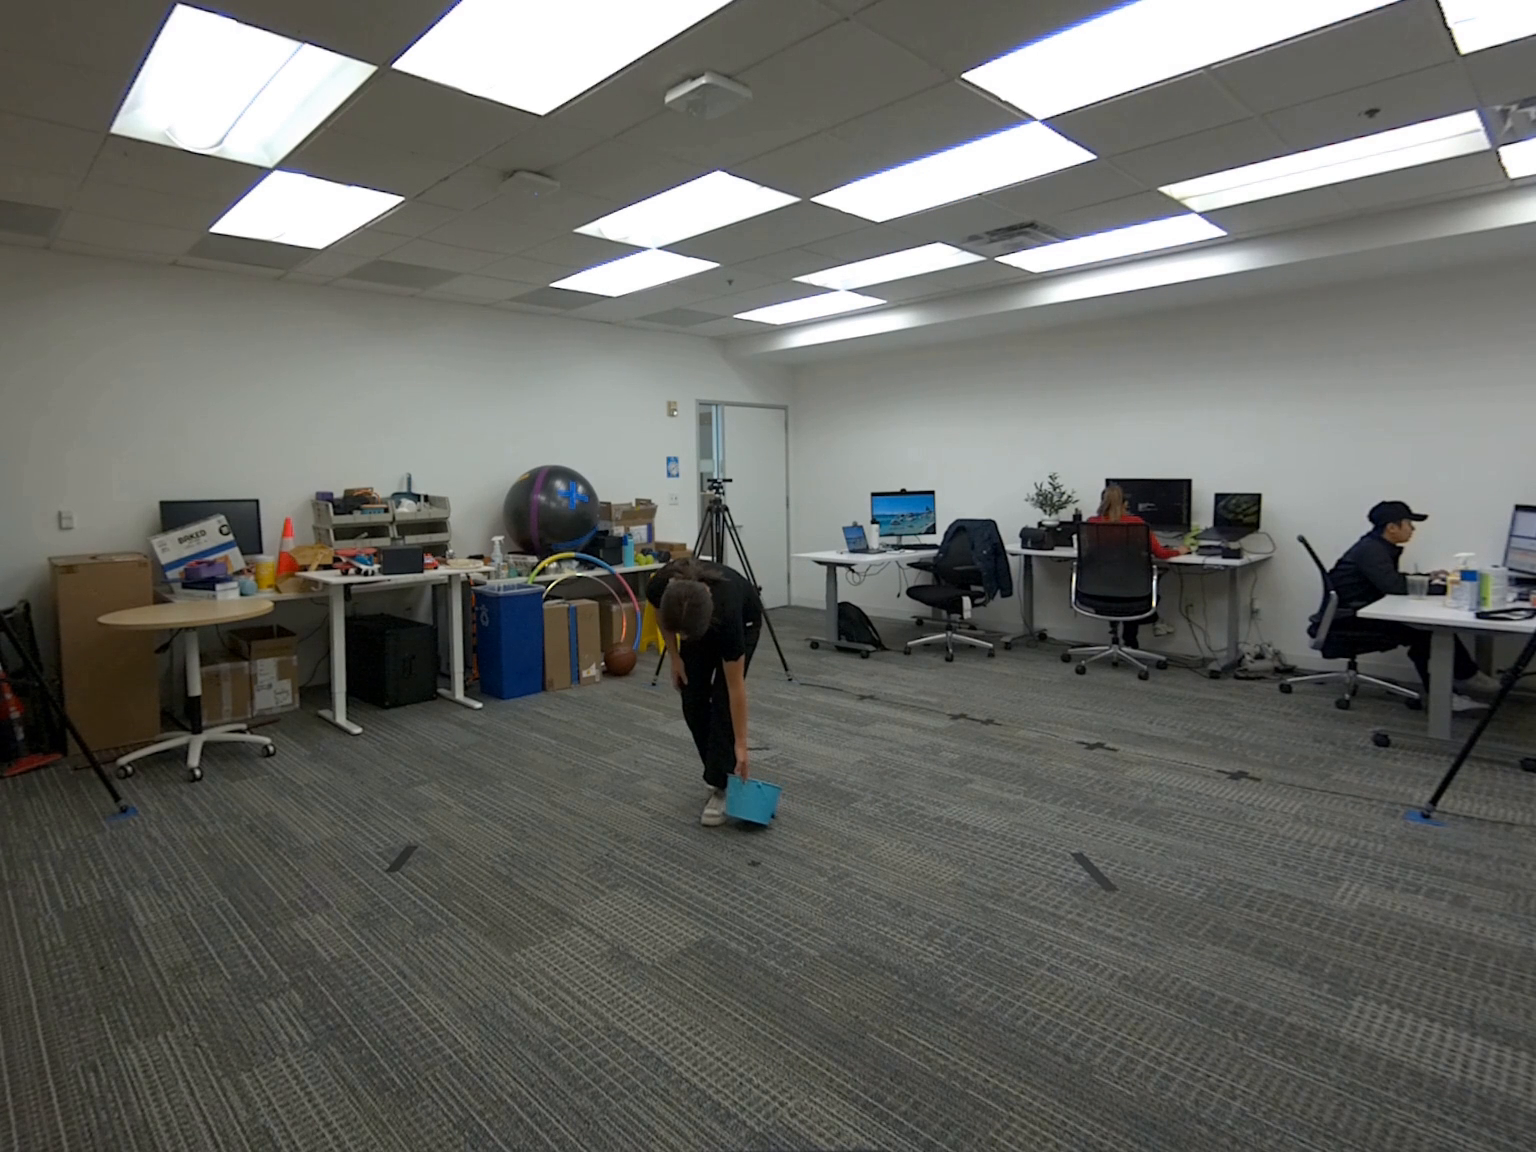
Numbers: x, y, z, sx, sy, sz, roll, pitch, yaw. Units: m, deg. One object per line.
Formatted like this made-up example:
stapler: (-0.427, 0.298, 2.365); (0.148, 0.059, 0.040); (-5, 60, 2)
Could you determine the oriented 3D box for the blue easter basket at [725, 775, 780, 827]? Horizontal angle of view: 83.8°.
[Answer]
blue easter basket: (-0.064, 0.902, 3.438); (0.244, 0.157, 0.241); (14, -12, 1)
